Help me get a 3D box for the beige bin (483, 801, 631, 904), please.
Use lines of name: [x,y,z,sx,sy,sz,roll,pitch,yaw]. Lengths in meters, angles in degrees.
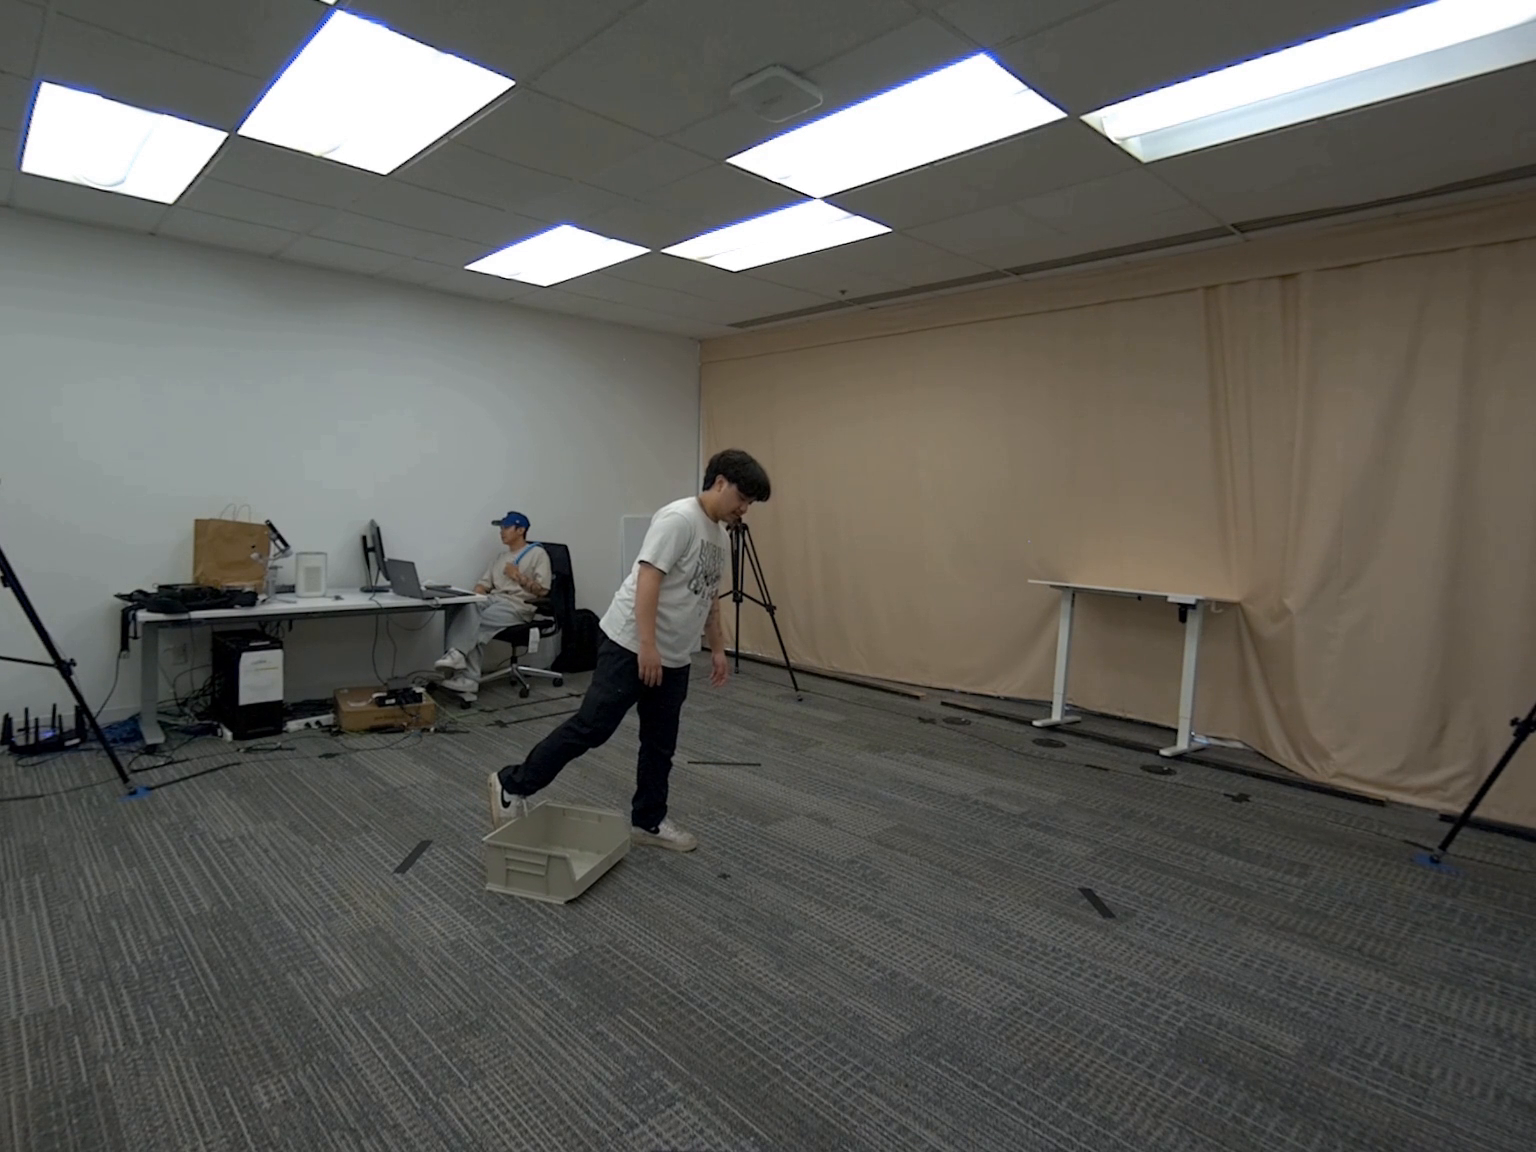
beige bin: [-0.773,1.007,3.086,0.383,0.188,0.418,2,5,17]
